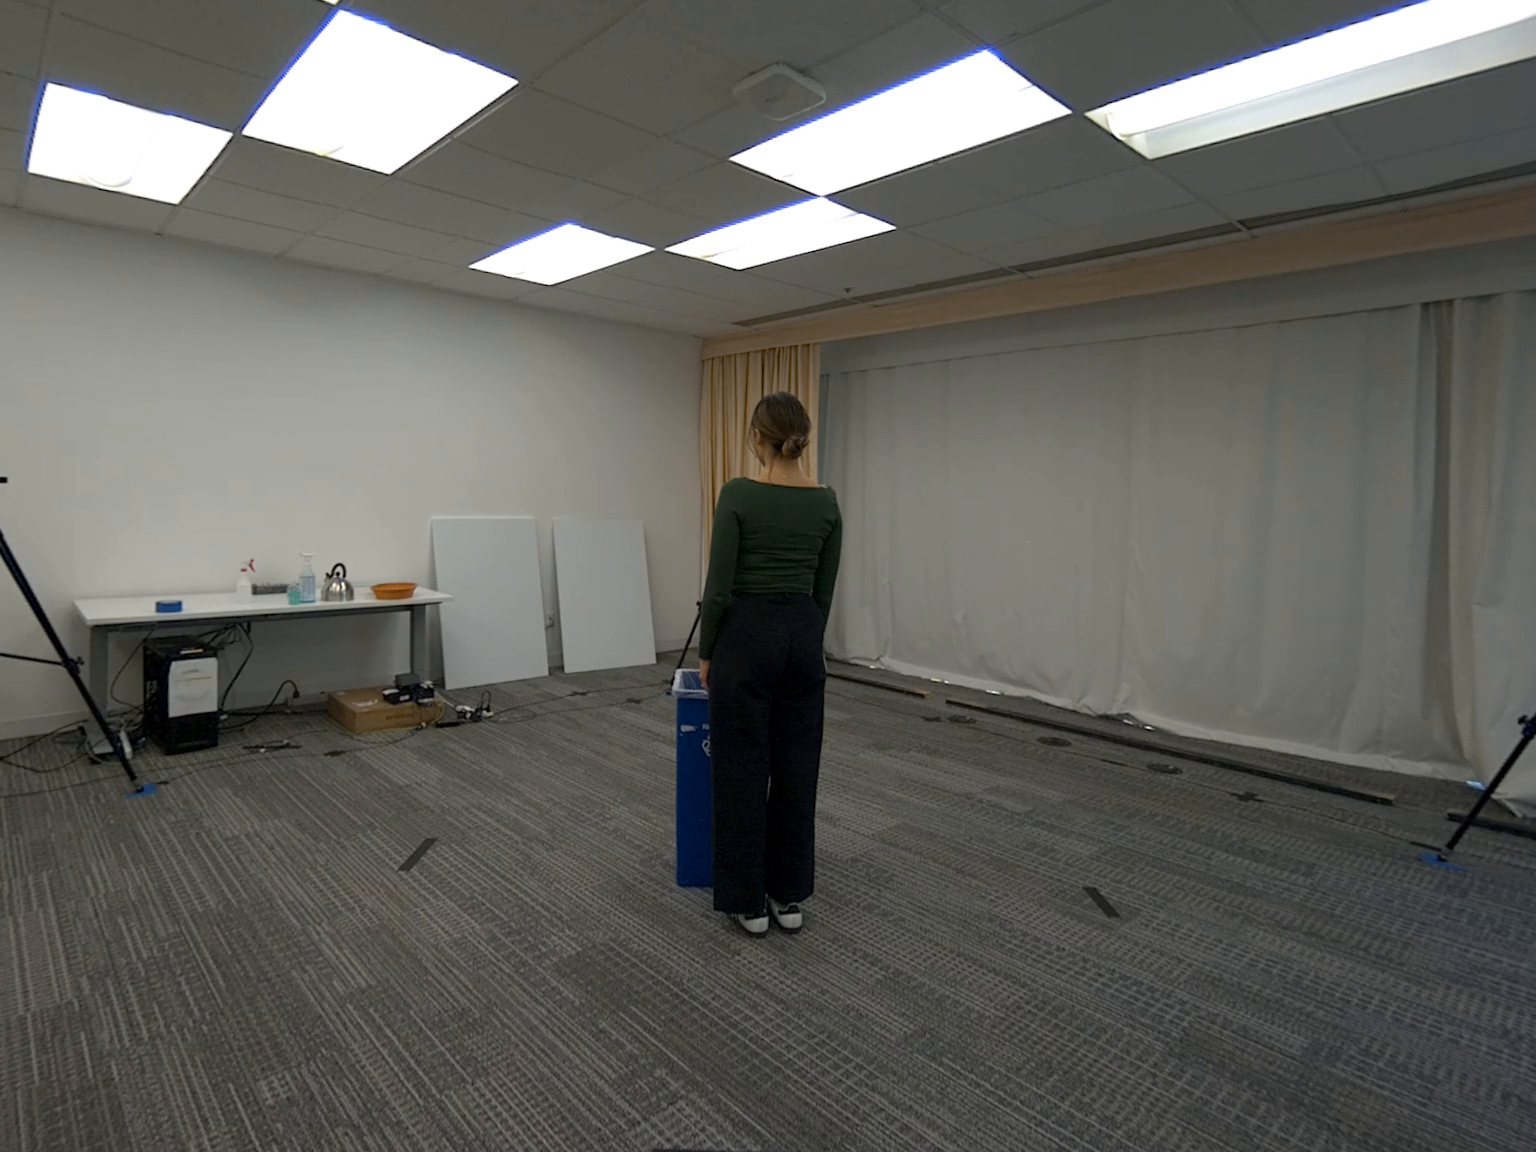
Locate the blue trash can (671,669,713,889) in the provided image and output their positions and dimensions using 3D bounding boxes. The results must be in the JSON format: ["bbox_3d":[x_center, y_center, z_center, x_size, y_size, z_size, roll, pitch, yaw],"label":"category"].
[{"bbox_3d":[-0.184,0.741,3.131,0.377,0.711,0.376,2,4,-3],"label":"blue trash can"}]
